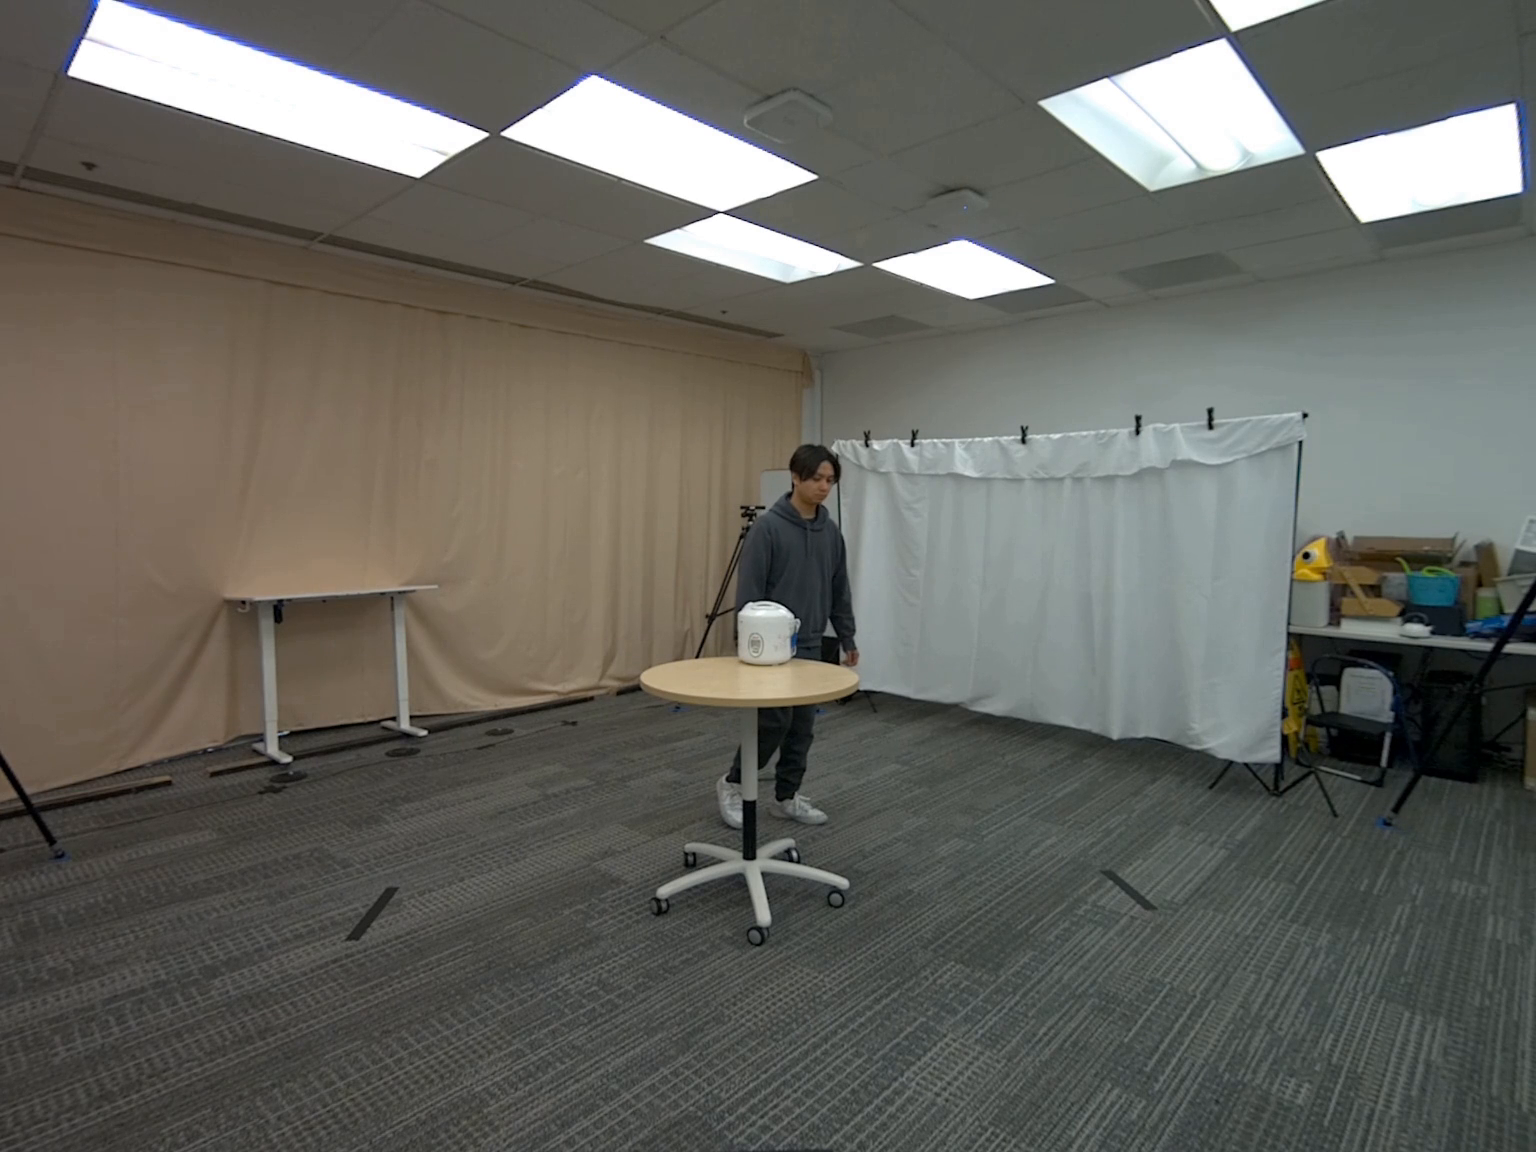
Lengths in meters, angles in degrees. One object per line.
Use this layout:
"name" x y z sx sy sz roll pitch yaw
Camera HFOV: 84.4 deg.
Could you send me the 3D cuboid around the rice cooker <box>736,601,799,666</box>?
"rice cooker" -0.011 0.211 3.223 0.225 0.232 0.213 1 2 21
